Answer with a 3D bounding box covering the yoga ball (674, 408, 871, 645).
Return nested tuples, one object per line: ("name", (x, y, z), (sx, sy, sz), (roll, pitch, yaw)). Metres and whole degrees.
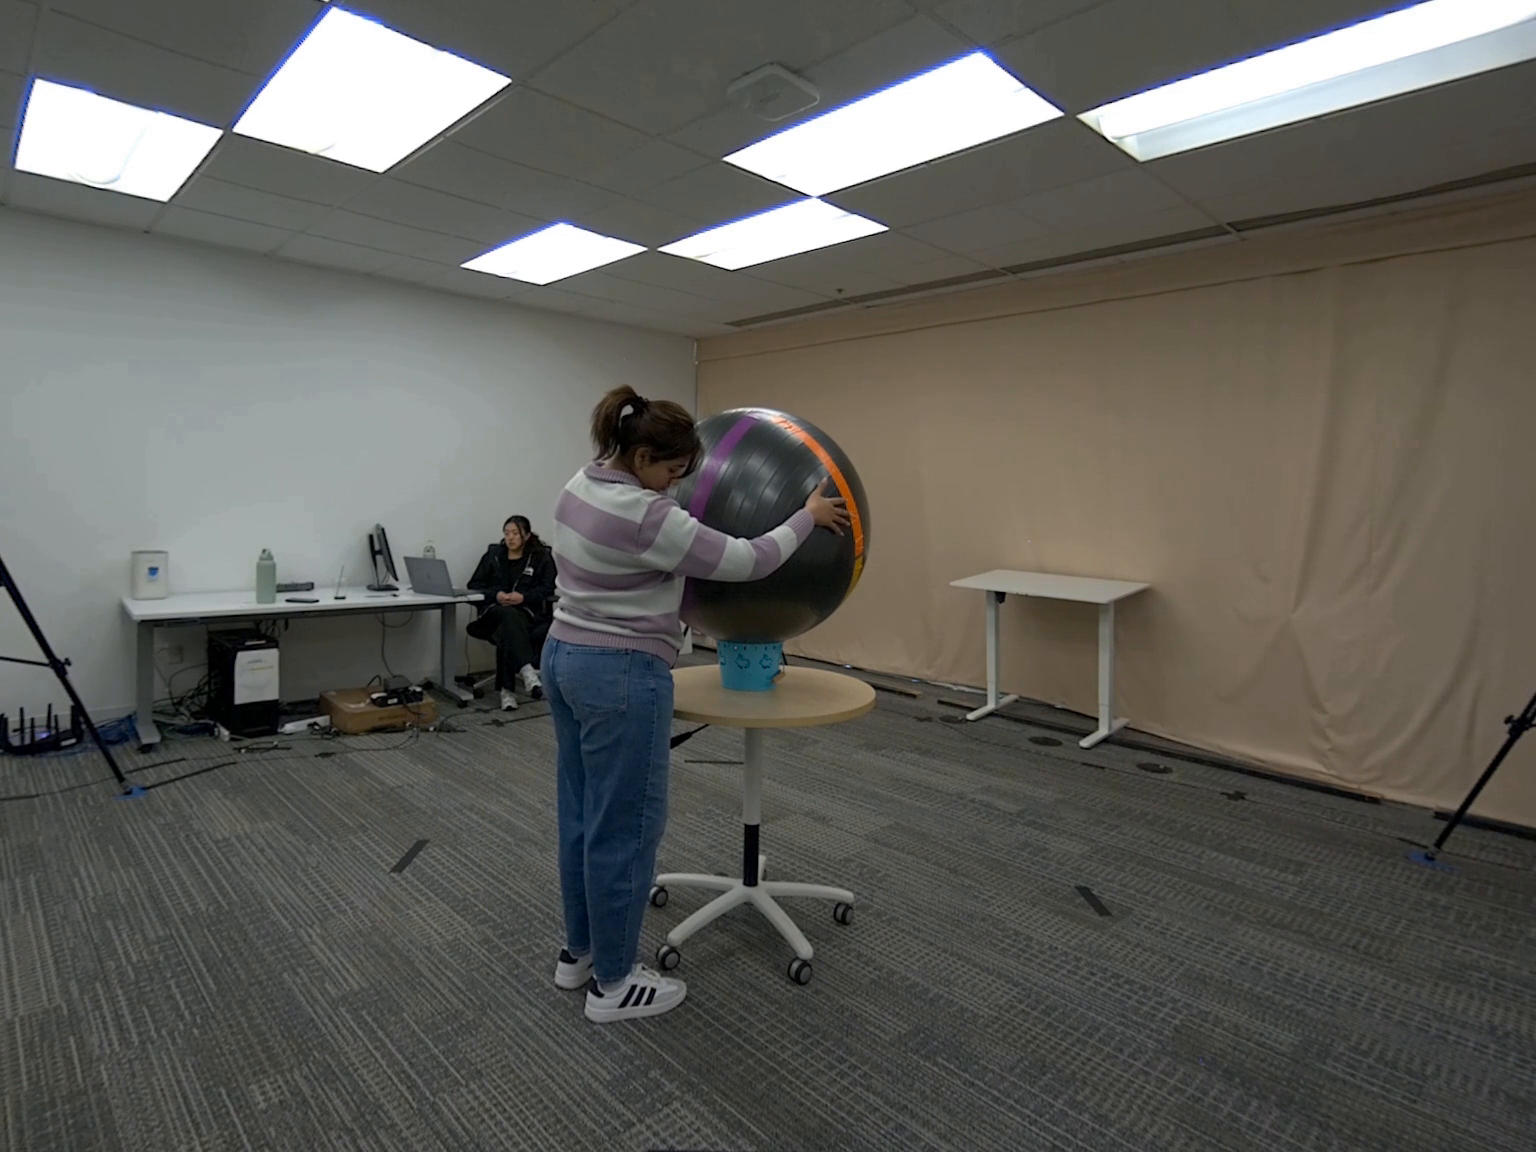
("yoga ball", (-0.050, -0.155, 2.716), (0.757, 0.756, 0.761), (1, 4, -1))
